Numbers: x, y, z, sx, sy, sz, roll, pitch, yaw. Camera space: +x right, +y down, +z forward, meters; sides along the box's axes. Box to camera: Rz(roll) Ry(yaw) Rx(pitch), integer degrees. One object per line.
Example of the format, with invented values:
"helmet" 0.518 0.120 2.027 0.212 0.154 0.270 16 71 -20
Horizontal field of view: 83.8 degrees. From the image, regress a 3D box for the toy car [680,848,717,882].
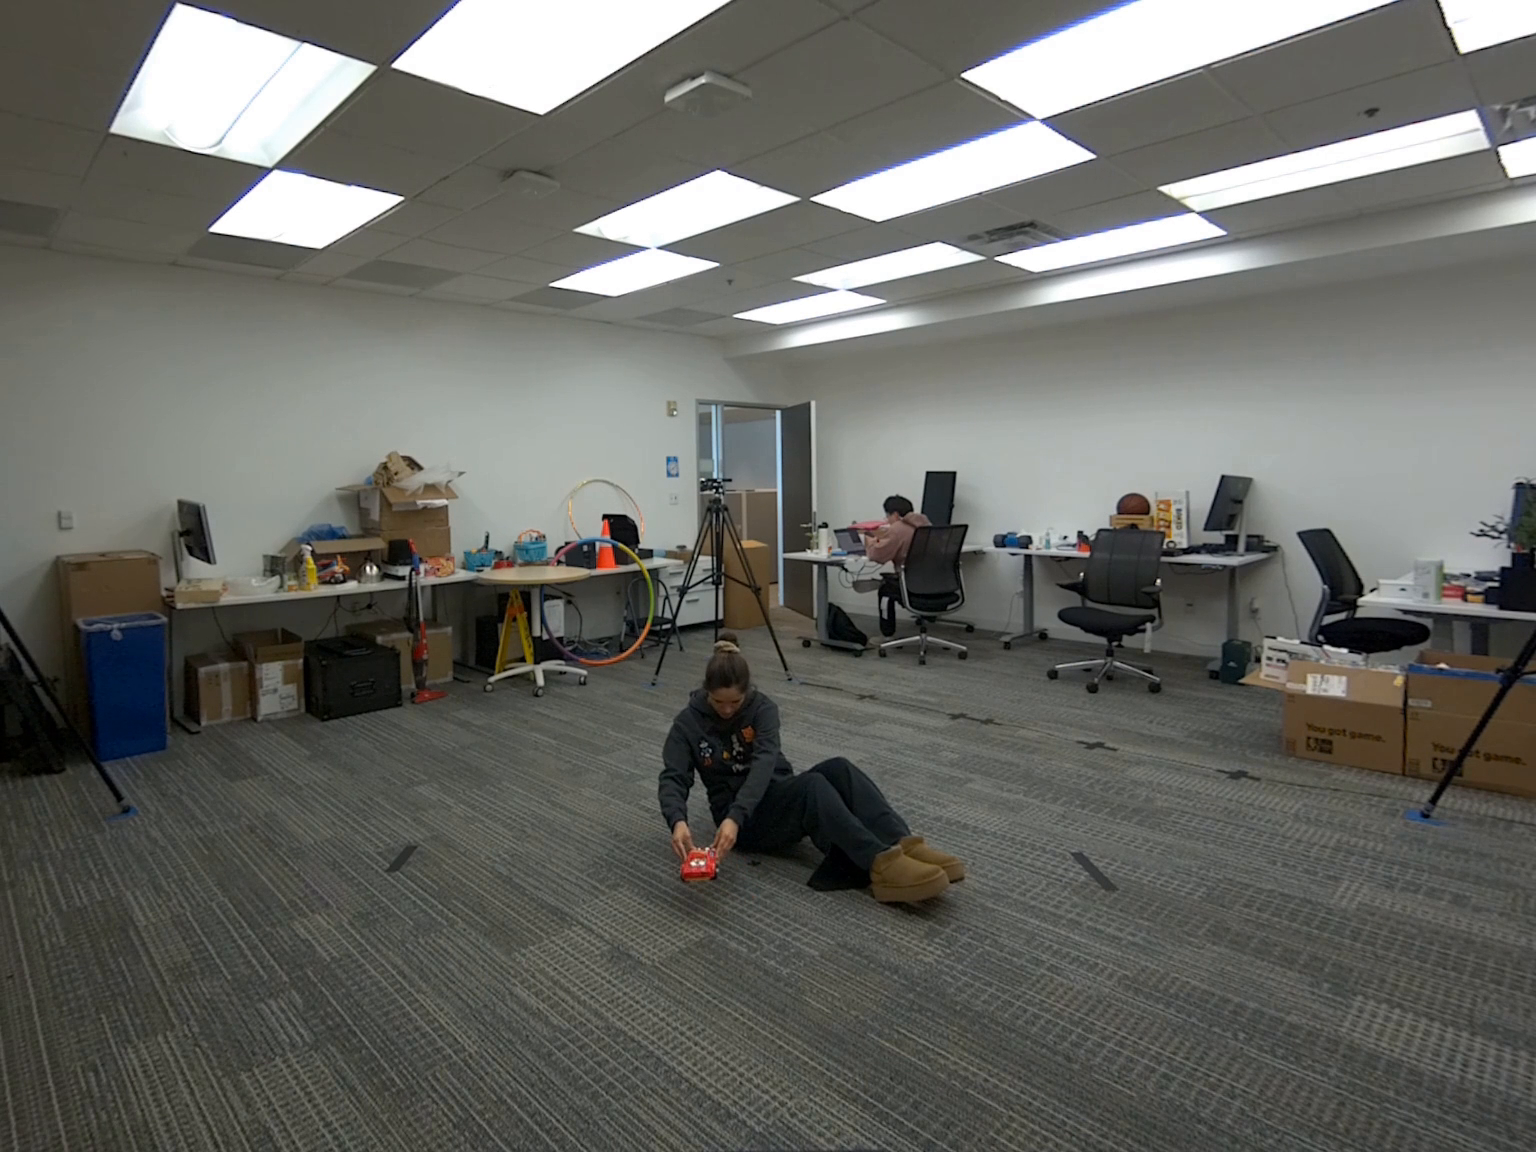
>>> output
"toy car" -0.221 0.947 2.771 0.131 0.084 0.250 -5 -11 4
